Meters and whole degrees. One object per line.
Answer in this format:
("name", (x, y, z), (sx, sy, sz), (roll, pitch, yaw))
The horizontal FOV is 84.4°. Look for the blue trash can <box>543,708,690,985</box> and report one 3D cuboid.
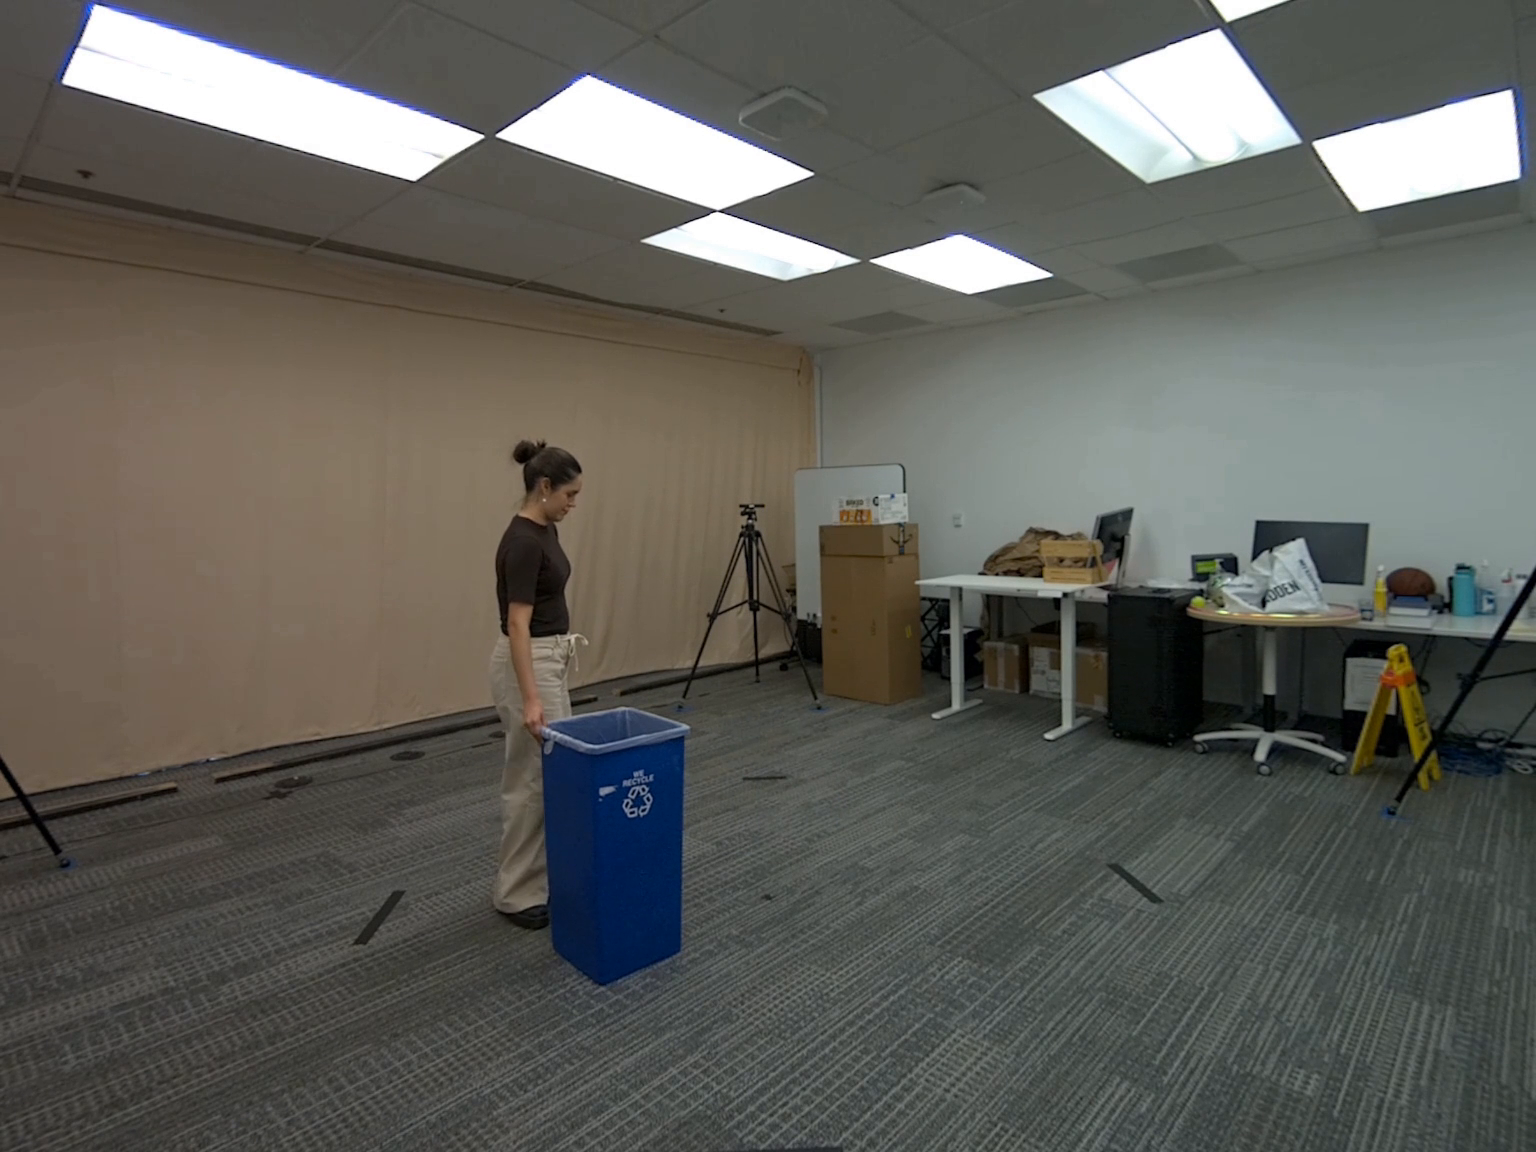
("blue trash can", (-0.475, 0.824, 2.631), (0.366, 0.712, 0.386), (-3, 3, -42))
